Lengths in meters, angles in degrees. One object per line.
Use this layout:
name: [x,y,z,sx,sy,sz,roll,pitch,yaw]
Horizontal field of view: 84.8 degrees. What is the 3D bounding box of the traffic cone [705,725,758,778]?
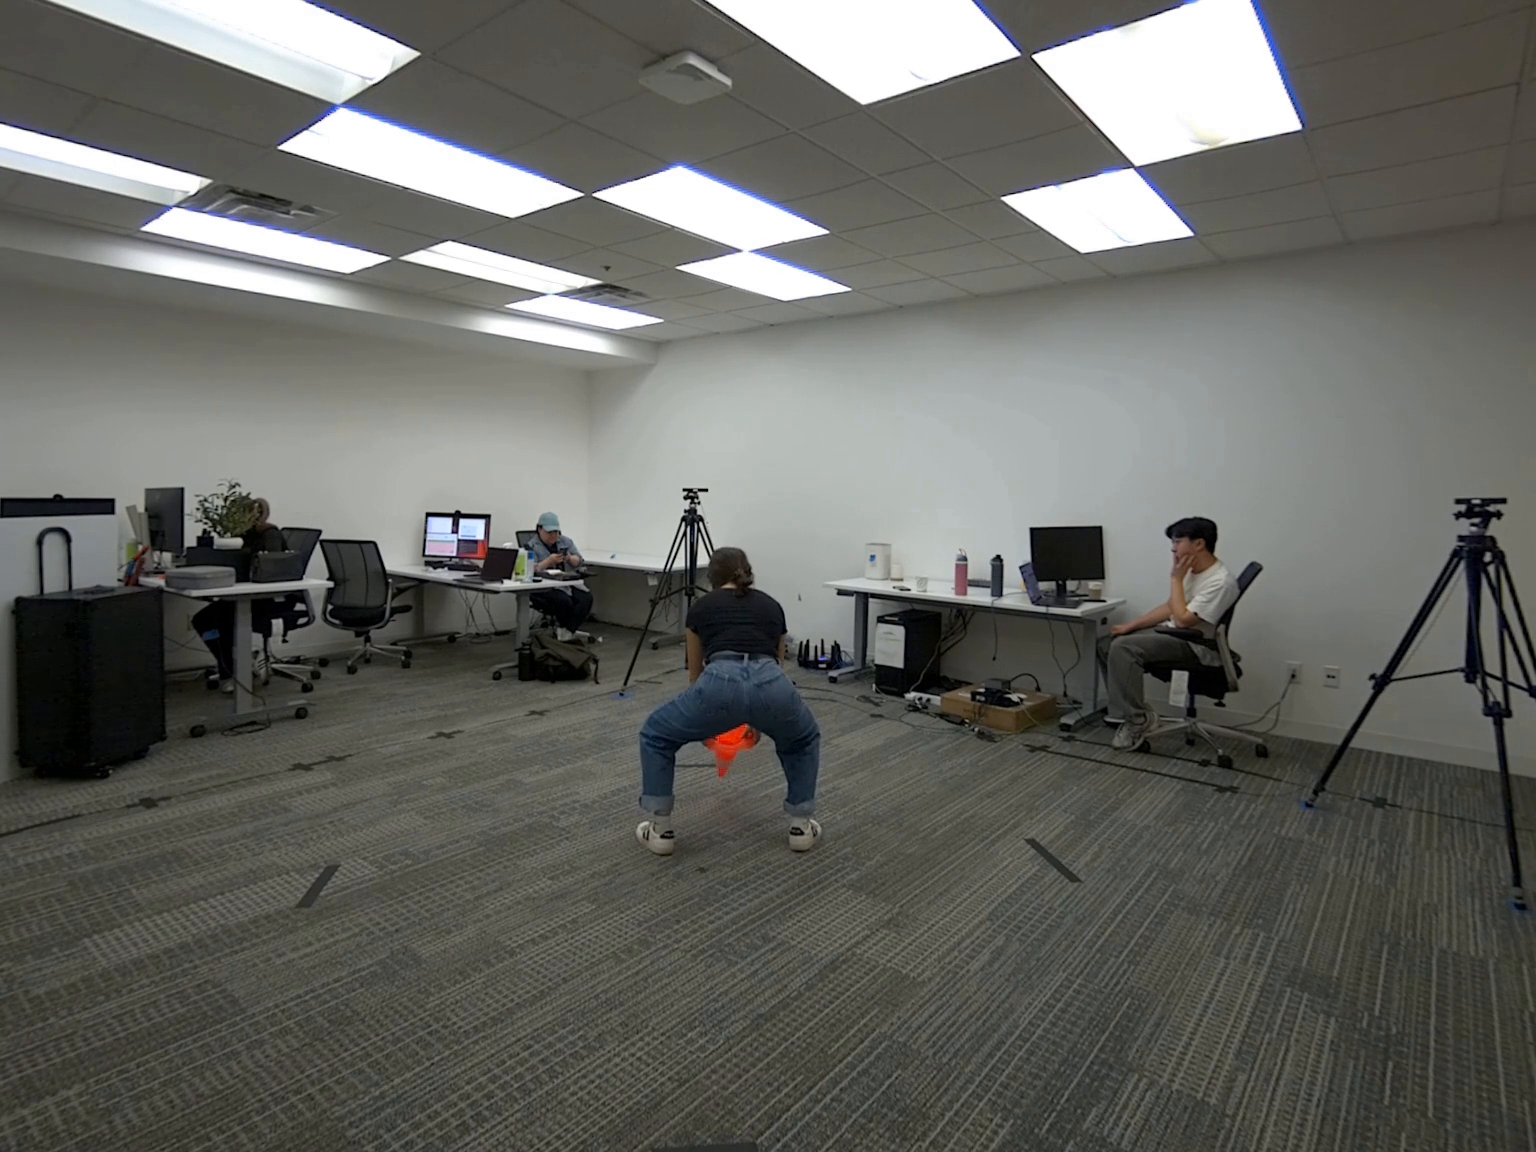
traffic cone: [-0.191,0.770,3.794,0.201,0.375,0.212,0,47,-11]
